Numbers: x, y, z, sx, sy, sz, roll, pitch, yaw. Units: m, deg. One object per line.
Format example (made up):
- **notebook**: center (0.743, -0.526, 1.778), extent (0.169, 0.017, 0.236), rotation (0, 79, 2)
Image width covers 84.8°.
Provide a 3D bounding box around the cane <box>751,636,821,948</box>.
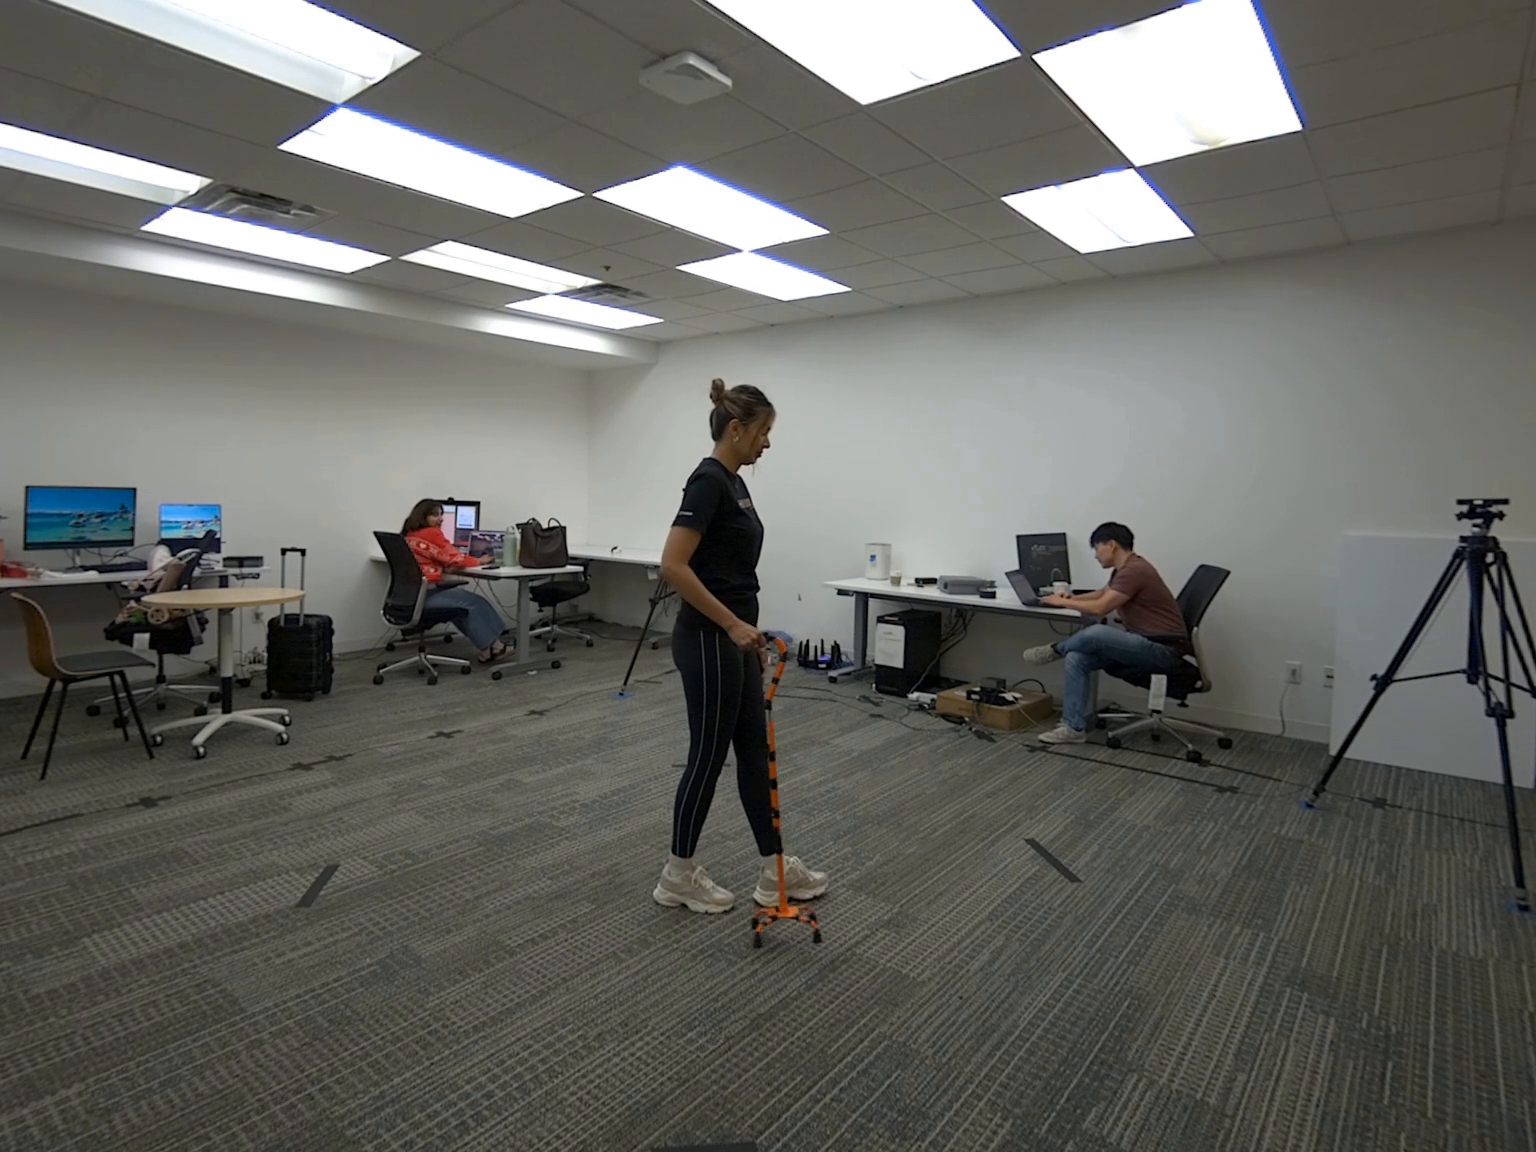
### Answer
- **cane**: center (0.020, 0.635, 2.581), extent (0.206, 0.908, 0.152), rotation (-4, -1, -1)
